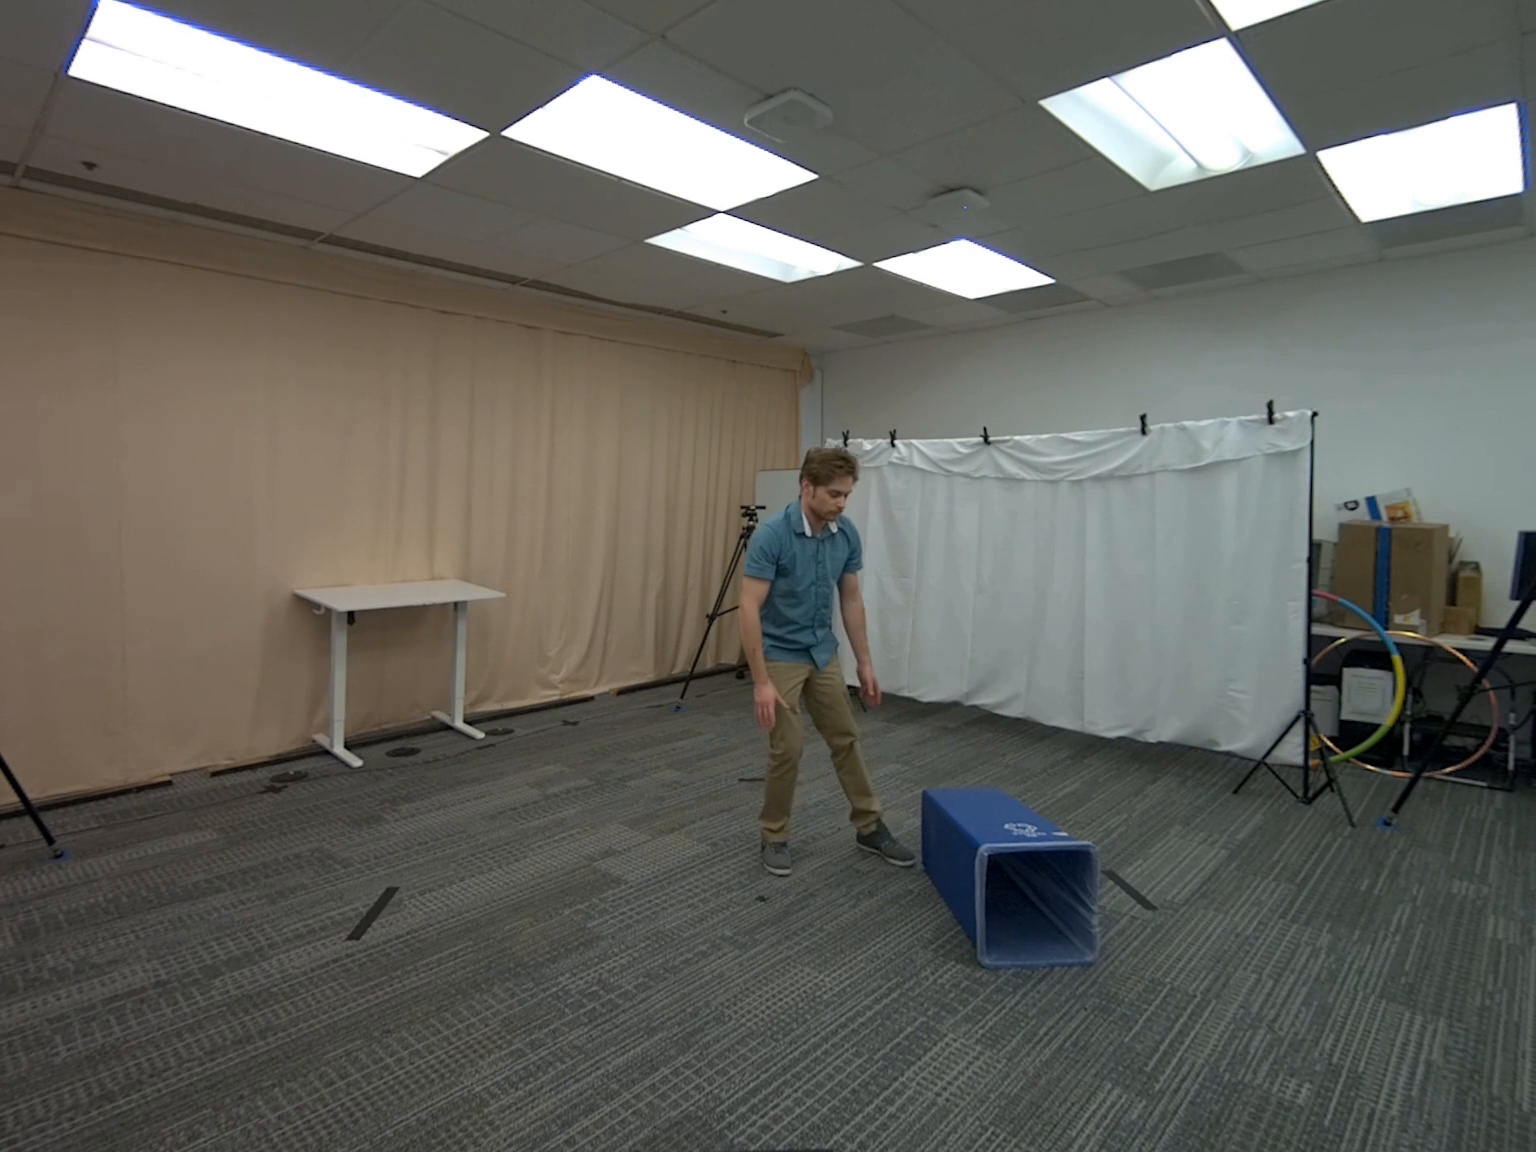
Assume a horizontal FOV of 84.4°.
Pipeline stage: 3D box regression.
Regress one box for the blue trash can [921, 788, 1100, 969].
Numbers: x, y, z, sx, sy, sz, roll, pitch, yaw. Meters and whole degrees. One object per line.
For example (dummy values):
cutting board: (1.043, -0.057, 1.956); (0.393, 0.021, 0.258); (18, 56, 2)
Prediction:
blue trash can: (0.781, 0.985, 2.880); (0.372, 0.378, 0.718); (-1, 1, -6)
